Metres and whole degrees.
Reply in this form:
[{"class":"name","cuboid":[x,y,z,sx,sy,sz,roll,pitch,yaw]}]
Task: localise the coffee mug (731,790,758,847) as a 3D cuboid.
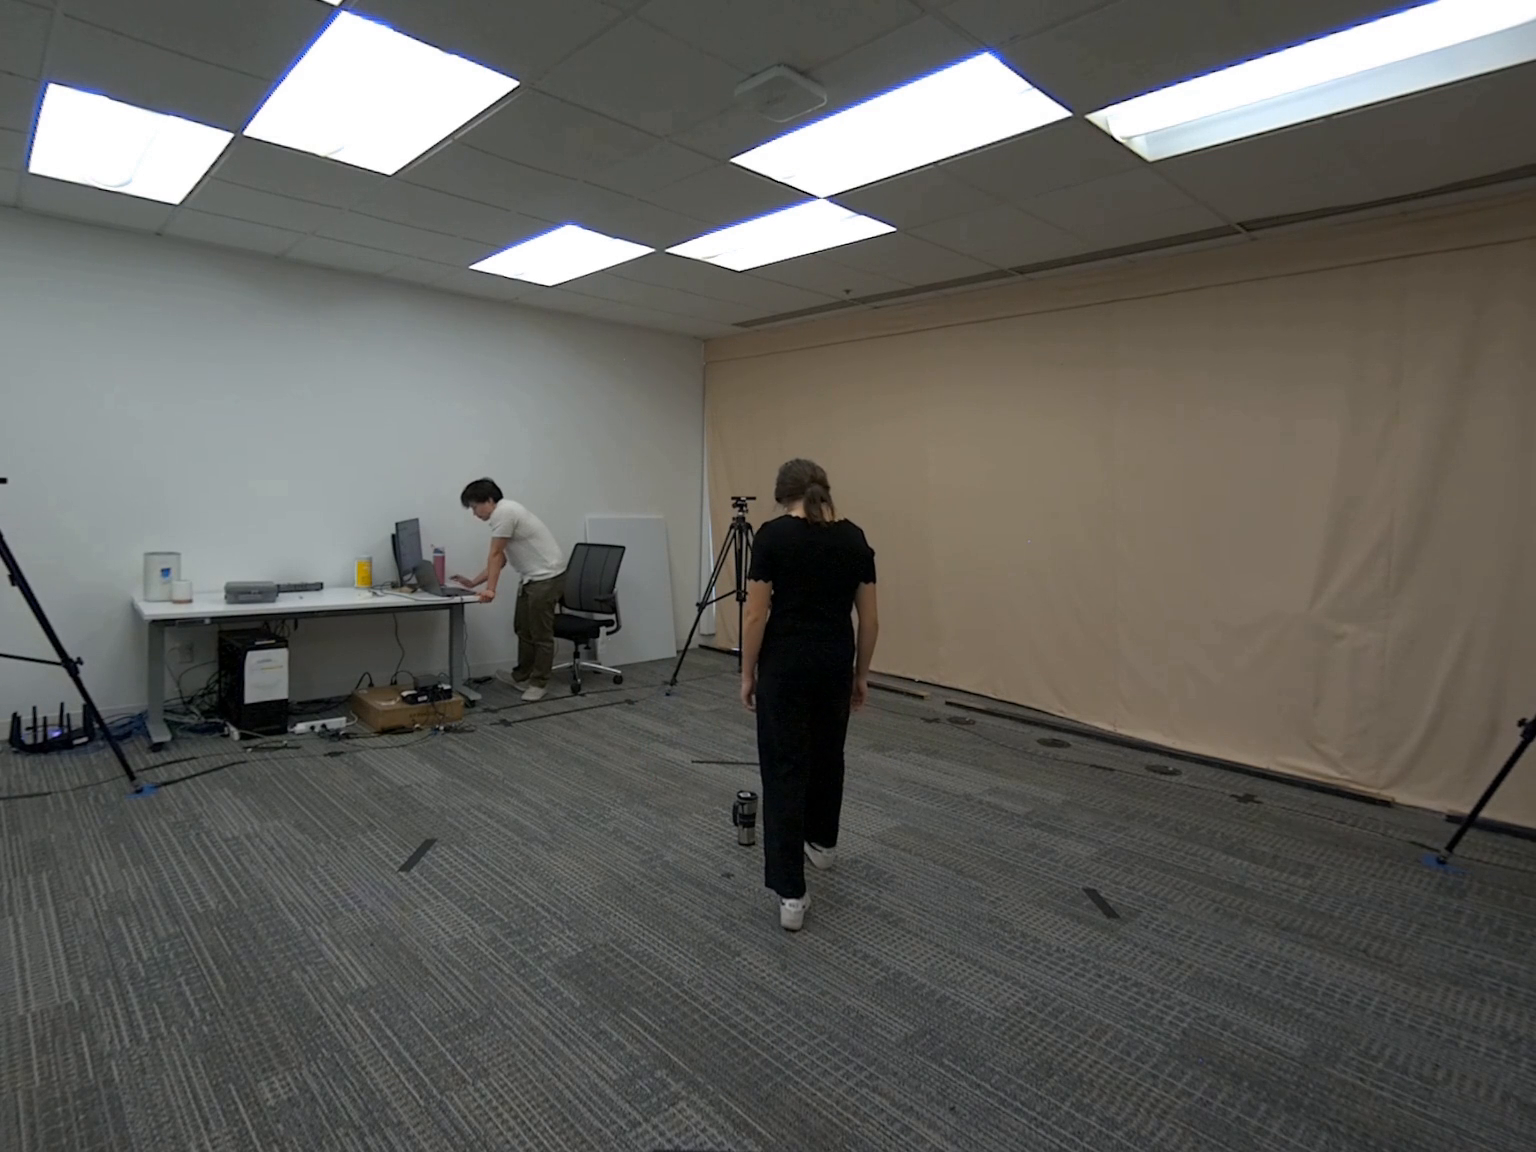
[{"class":"coffee mug","cuboid":[-0.115,0.980,3.388,0.119,0.202,0.090,3,5,-31]}]
